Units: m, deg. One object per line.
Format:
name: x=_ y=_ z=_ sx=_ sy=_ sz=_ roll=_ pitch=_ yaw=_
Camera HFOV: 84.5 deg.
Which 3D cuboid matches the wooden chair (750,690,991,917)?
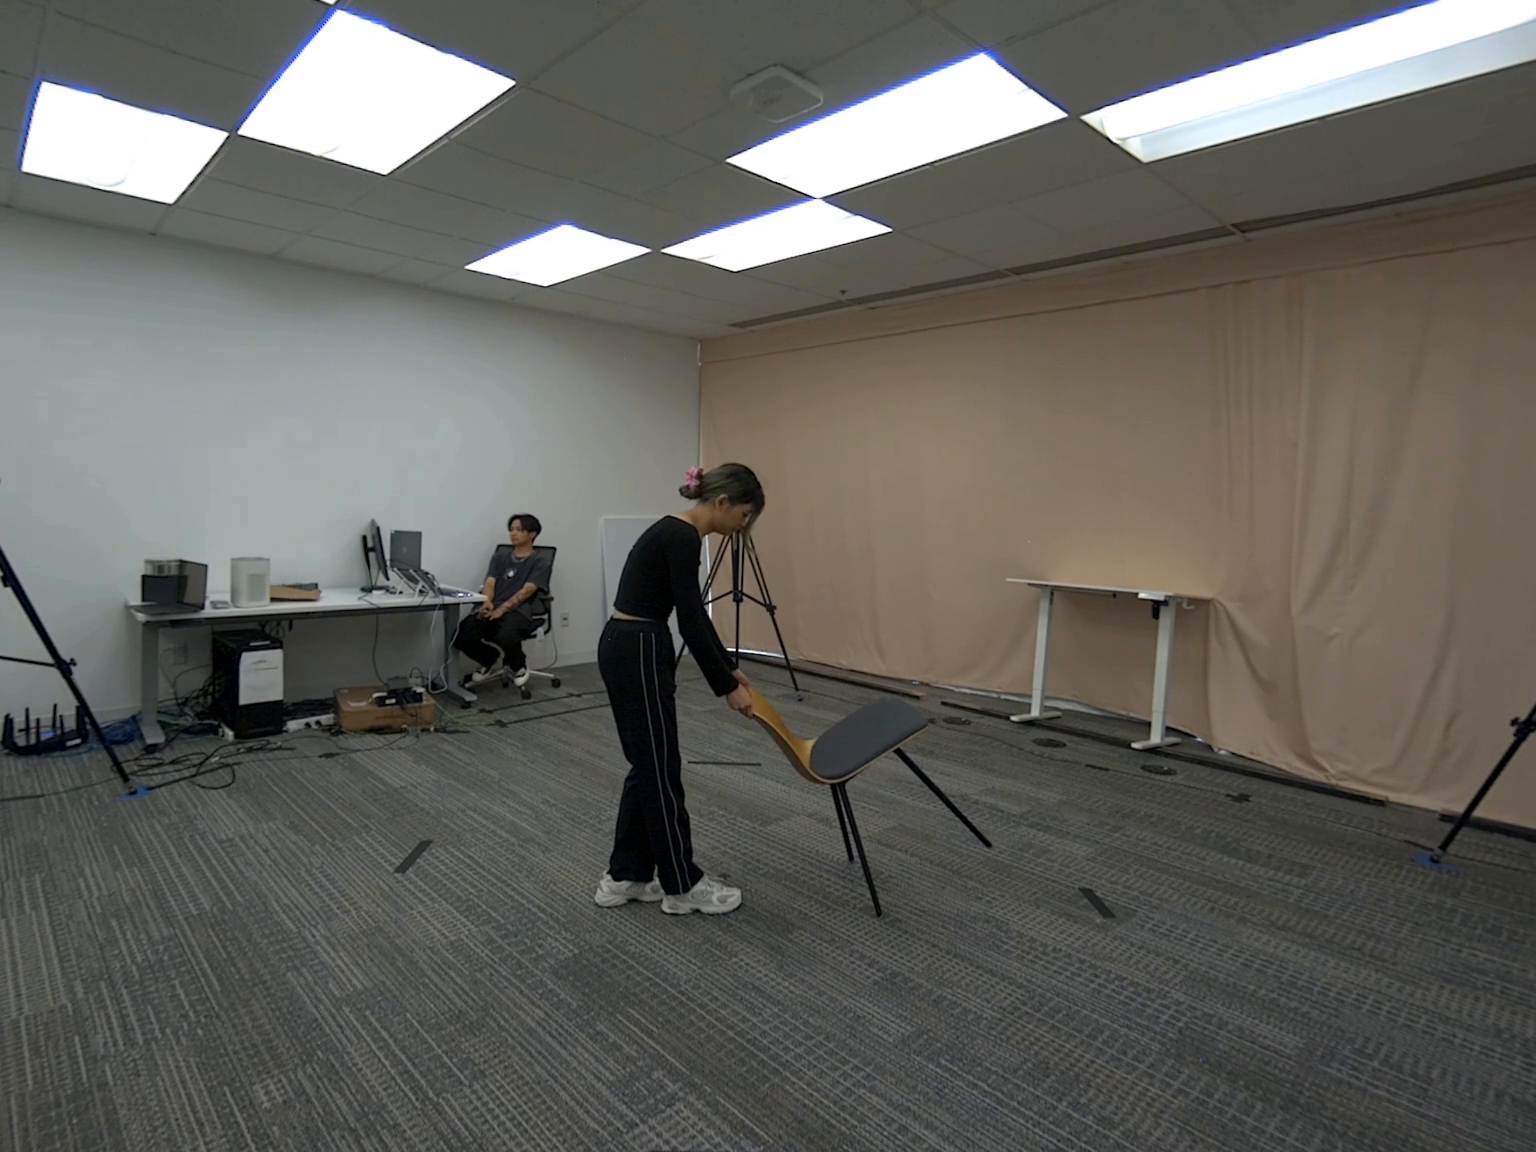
wooden chair: x=0.315 y=0.634 z=3.012 sx=0.523 sy=0.873 sz=0.481 roll=-36 pitch=5 yaw=-2
